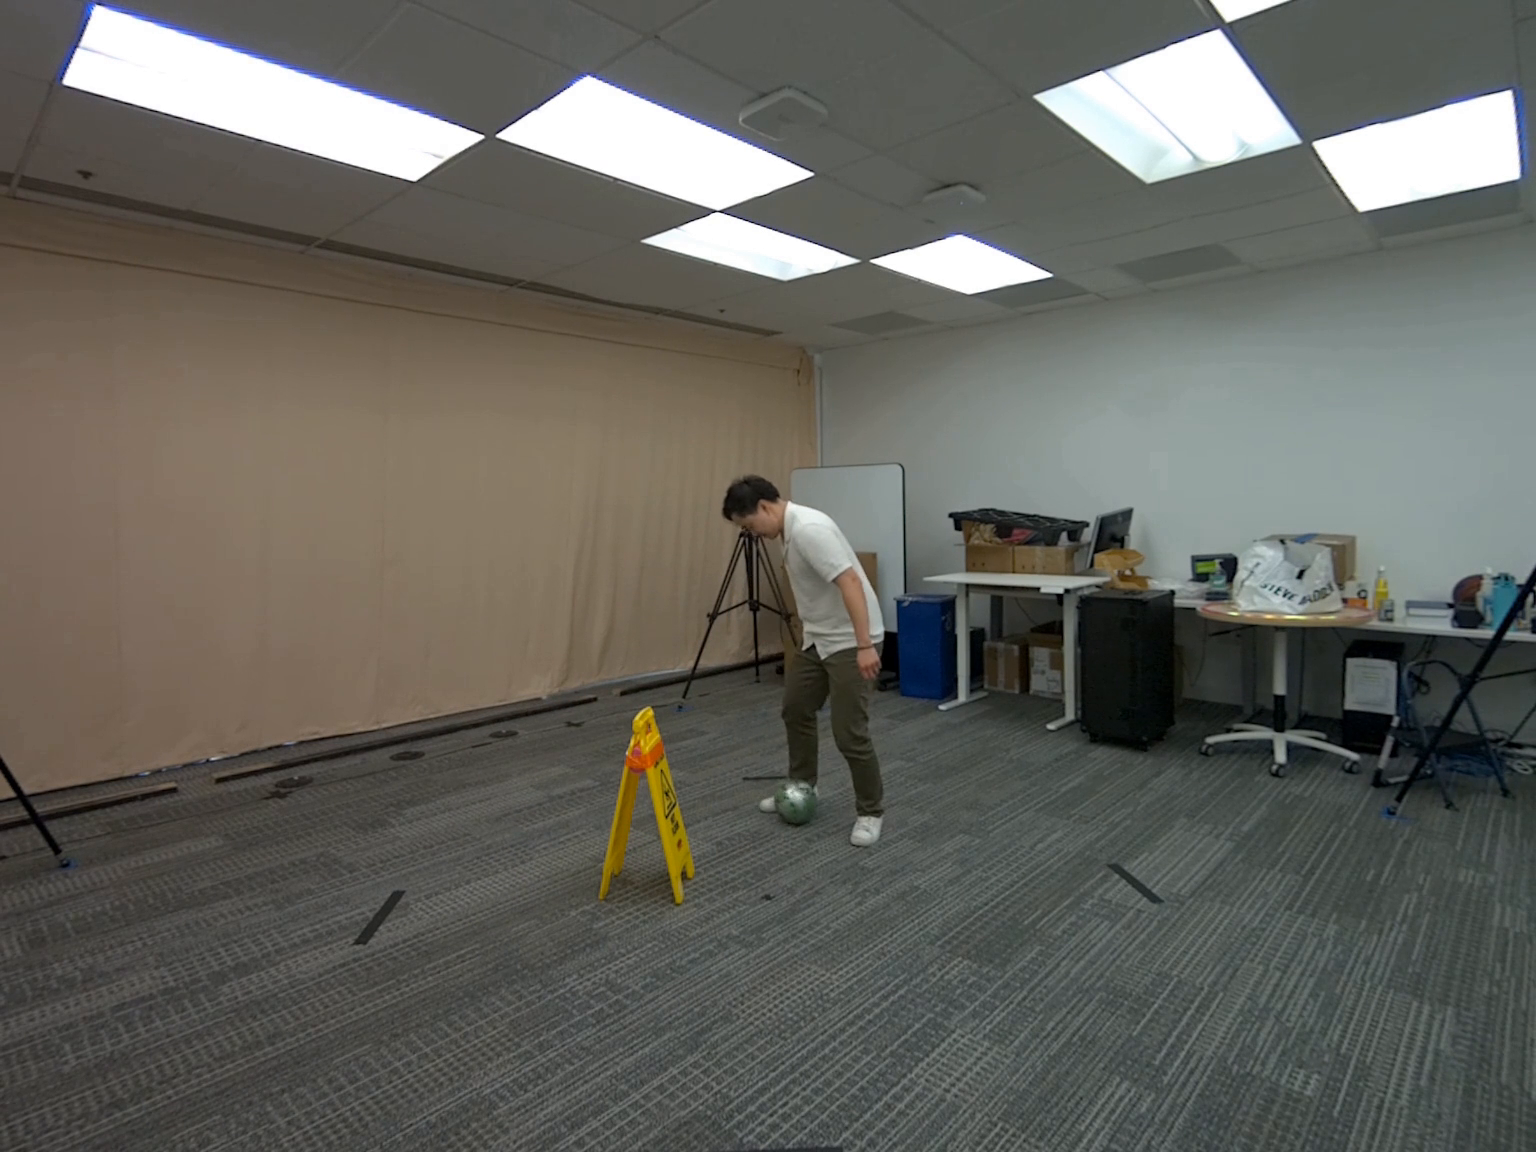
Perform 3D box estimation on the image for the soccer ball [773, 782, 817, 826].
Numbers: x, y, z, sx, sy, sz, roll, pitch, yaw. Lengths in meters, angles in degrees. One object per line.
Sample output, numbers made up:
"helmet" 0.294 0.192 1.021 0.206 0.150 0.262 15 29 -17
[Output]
"soccer ball" 0.123 0.982 3.677 0.187 0.187 0.188 -1 4 -2
